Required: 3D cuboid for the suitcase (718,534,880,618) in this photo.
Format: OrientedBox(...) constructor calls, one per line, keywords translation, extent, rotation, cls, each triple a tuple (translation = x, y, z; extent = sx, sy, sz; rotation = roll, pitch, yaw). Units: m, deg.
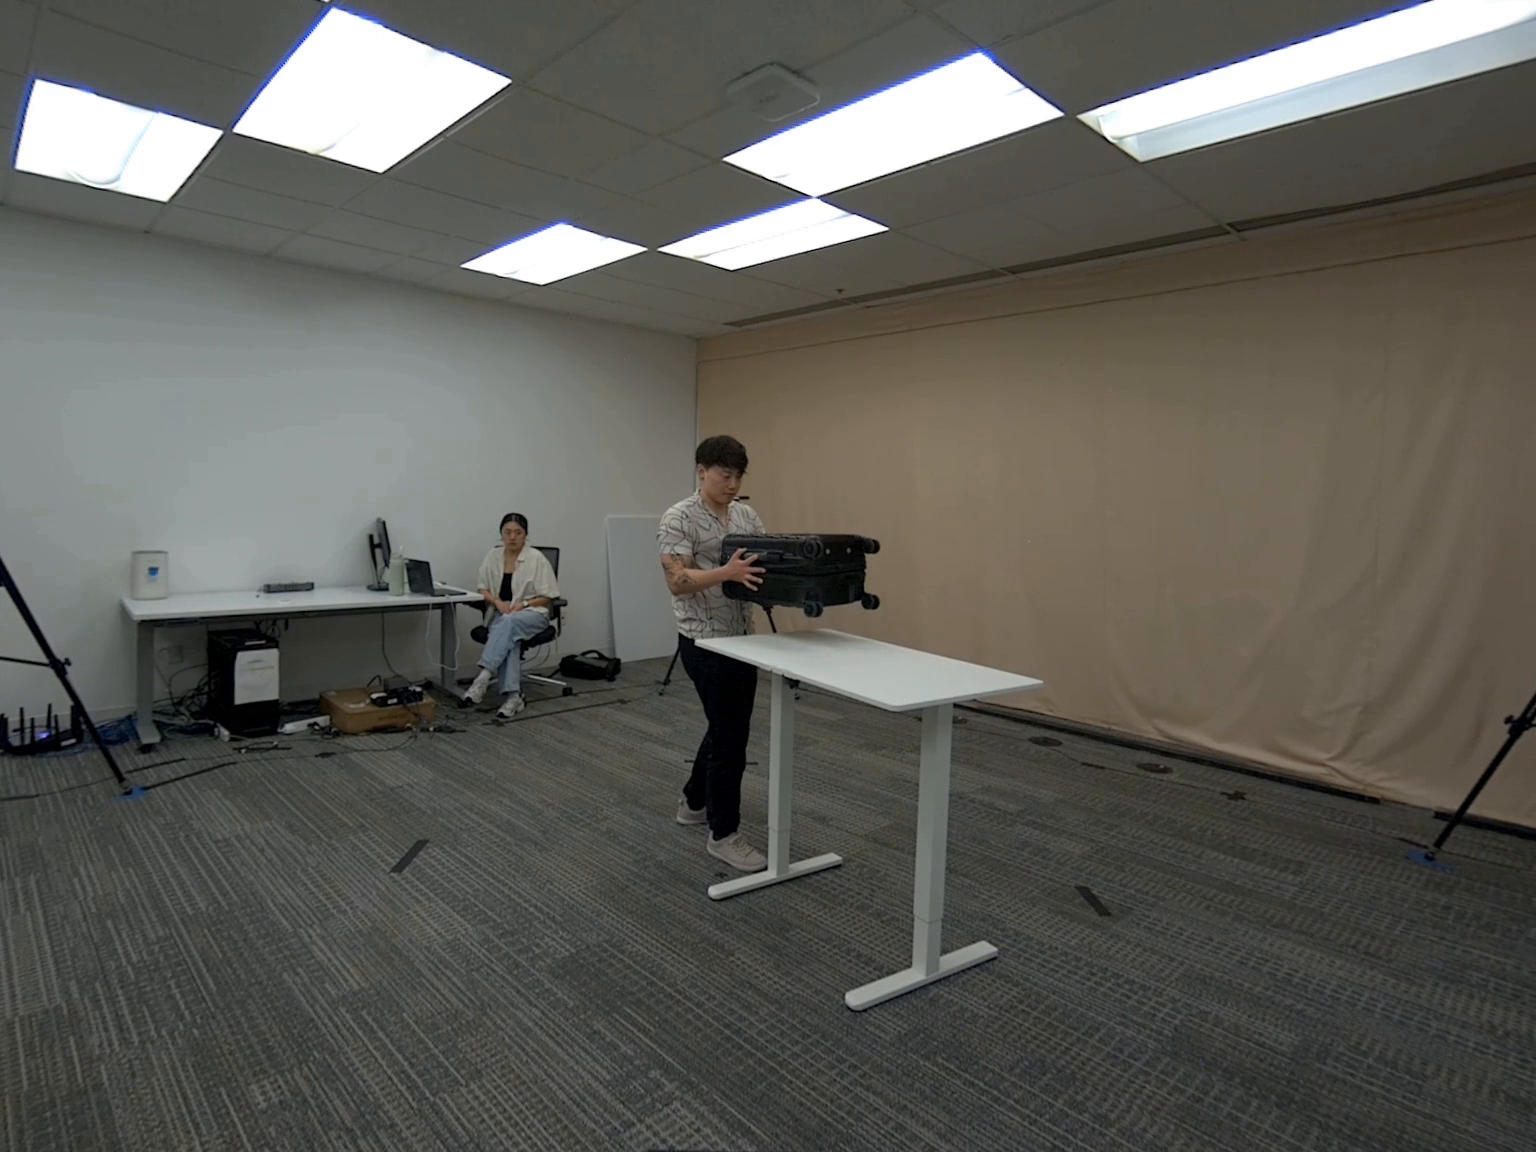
OrientedBox(translation=(0.085, -0.029, 3.144), extent=(0.367, 0.247, 0.563), rotation=(-3, 6, -42), cls="suitcase")
